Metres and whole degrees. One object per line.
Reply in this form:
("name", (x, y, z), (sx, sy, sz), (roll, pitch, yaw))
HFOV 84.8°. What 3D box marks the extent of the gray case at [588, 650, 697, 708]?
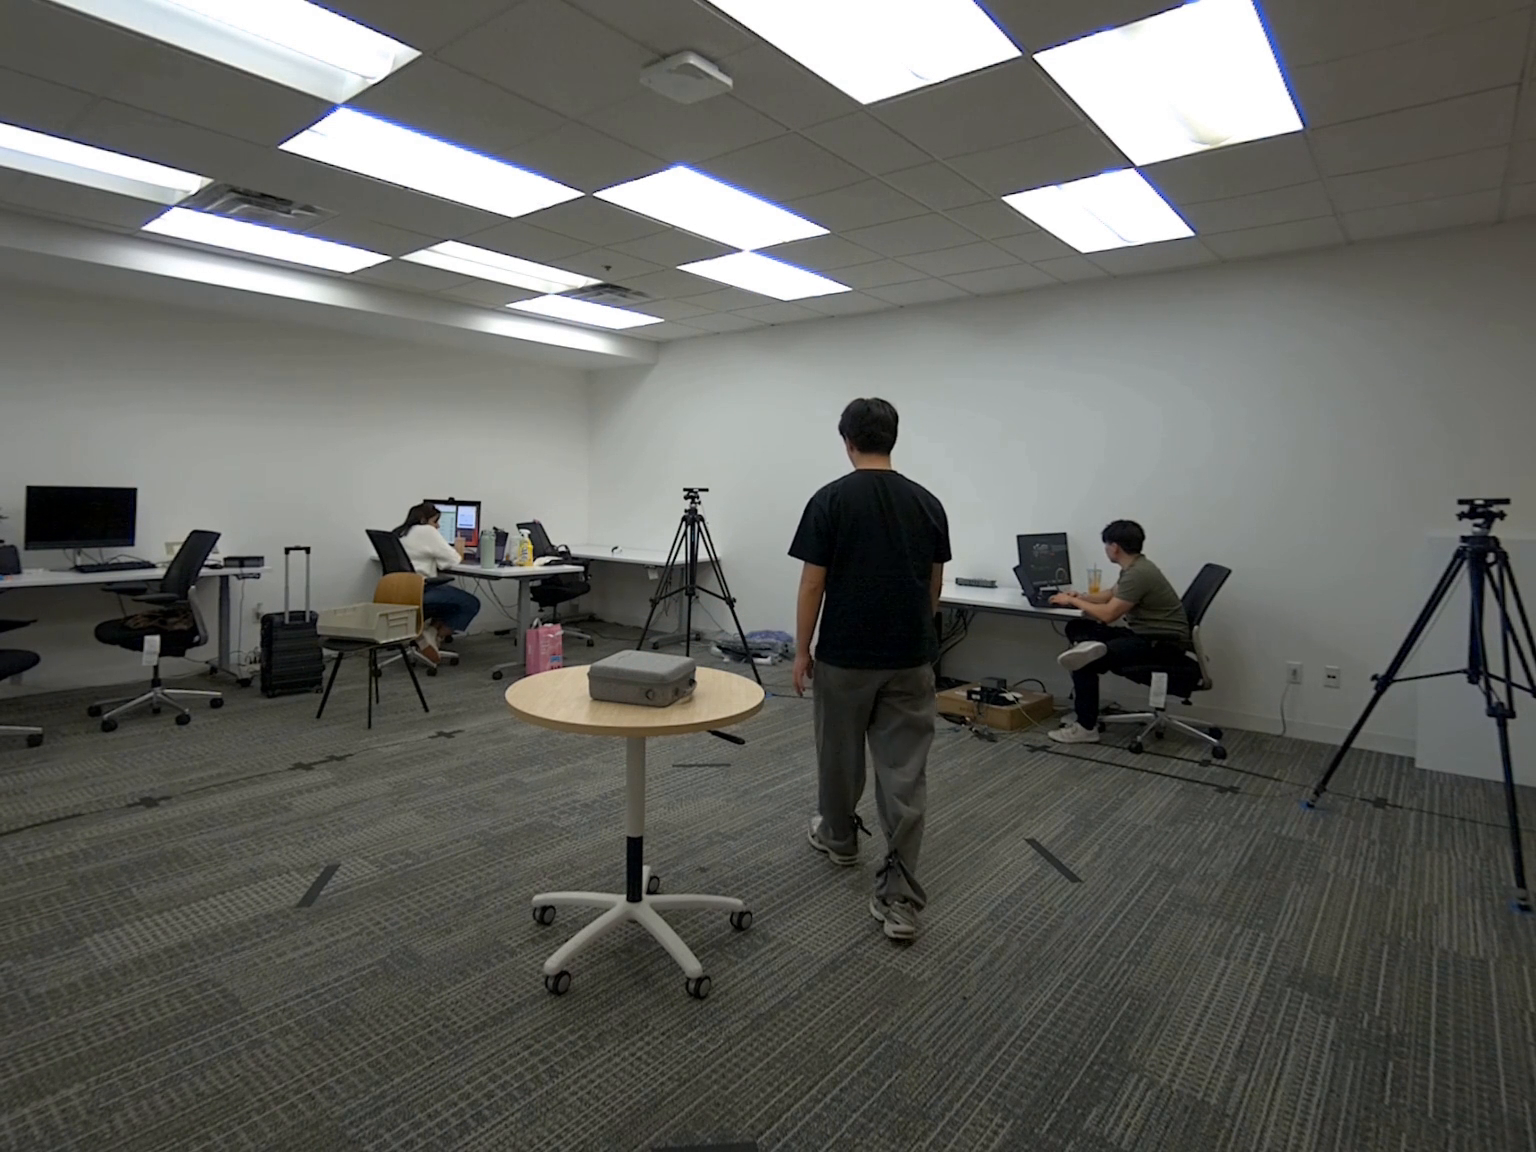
("gray case", (-0.361, 0.297, 2.487), (0.293, 0.102, 0.259), (4, 6, 17))
